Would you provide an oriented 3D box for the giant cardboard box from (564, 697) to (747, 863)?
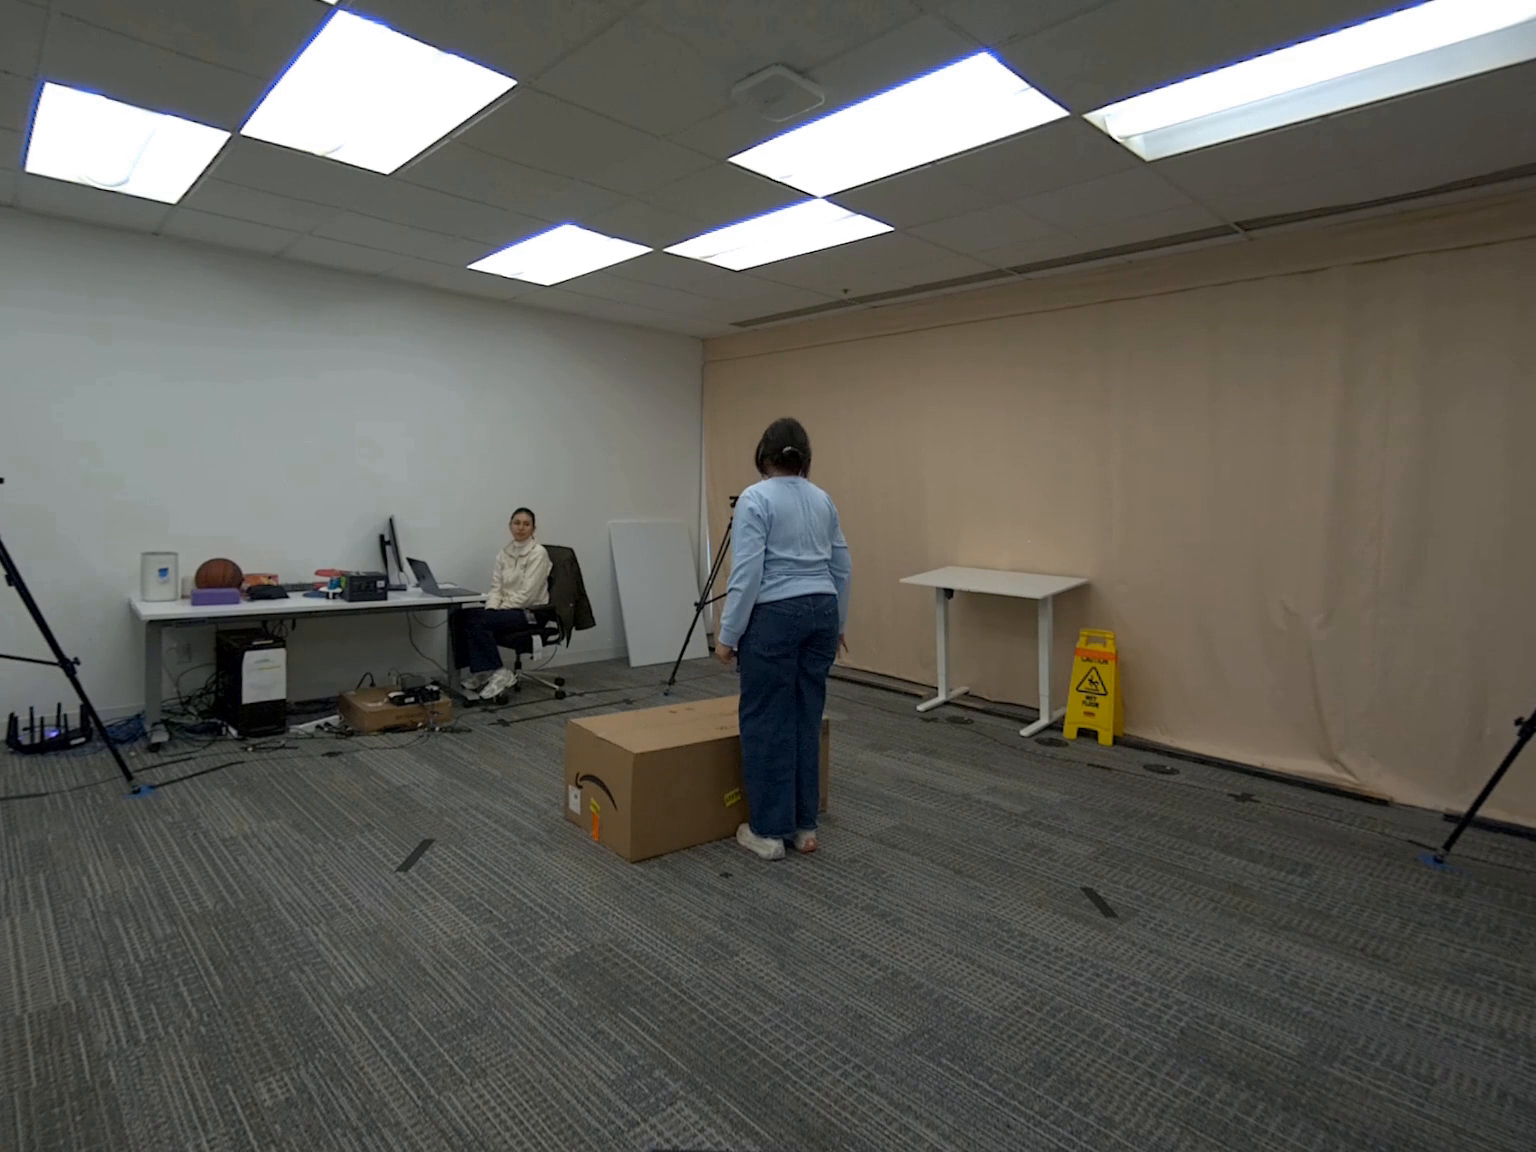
[{"bbox_3d":[-0.307,0.835,3.699,1.003,0.425,0.592,-2,5,-38],"label":"giant cardboard box"}]
